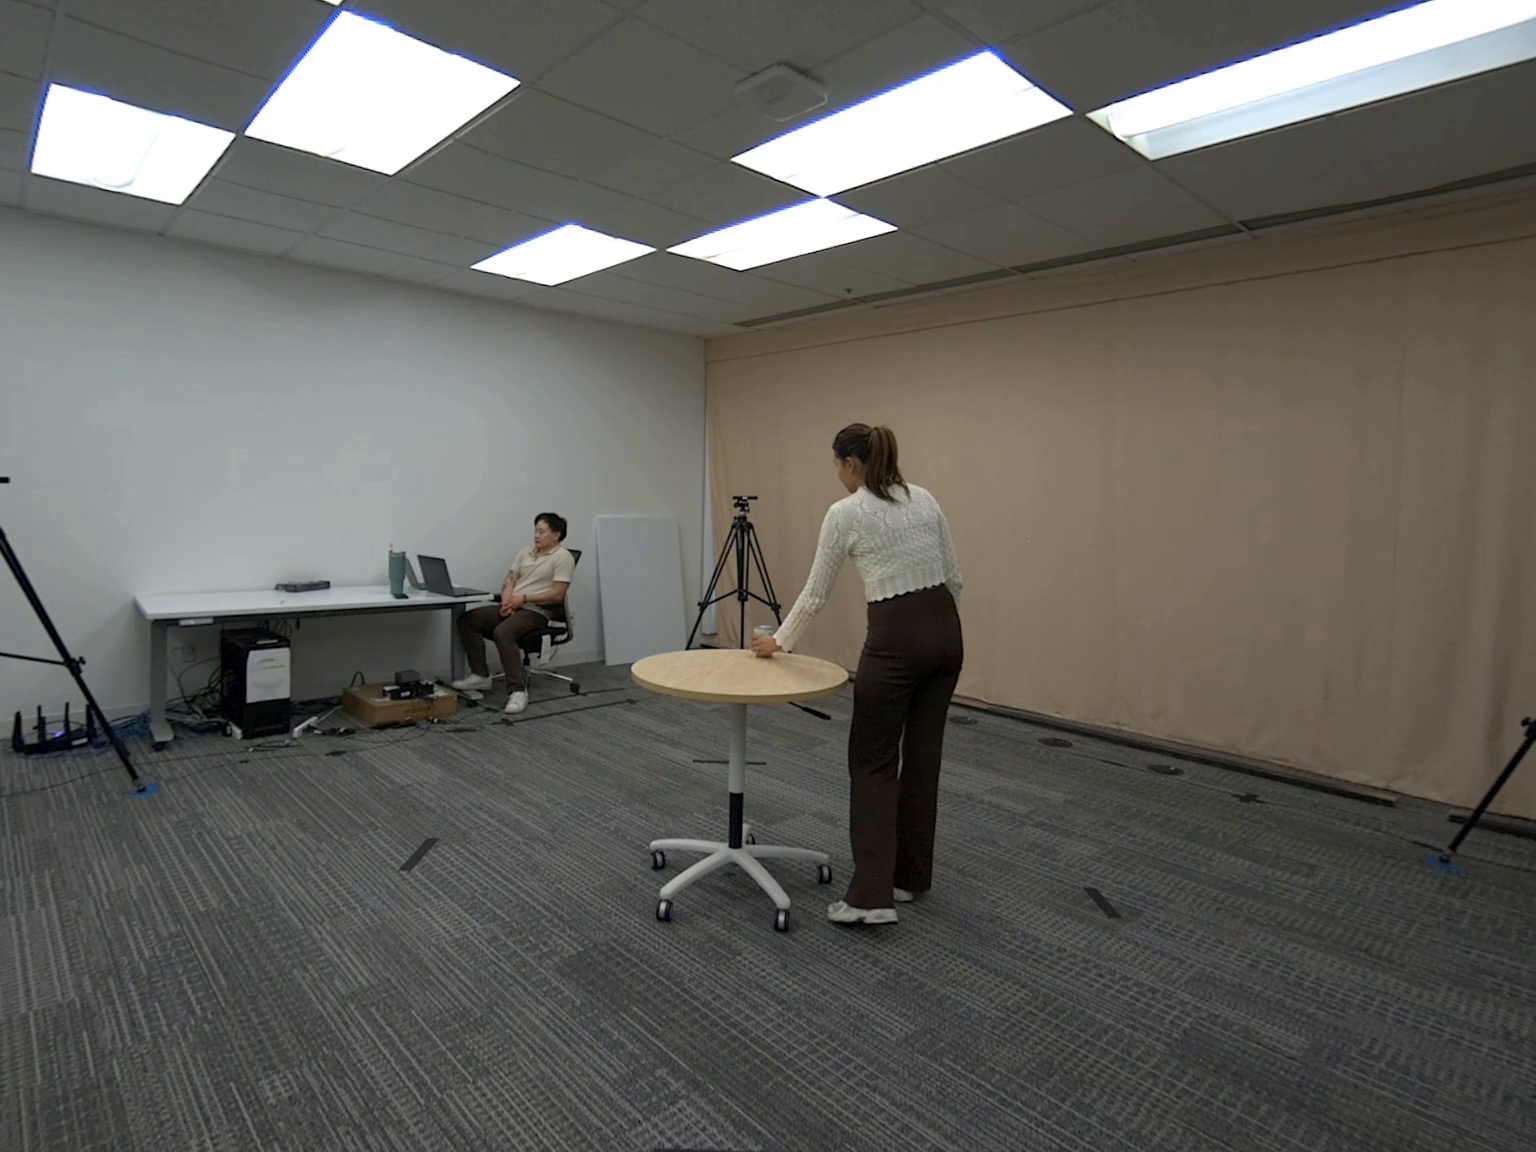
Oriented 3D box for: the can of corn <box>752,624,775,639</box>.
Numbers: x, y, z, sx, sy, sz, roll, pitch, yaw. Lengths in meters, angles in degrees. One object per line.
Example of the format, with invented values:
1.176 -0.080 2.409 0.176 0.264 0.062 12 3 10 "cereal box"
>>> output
-0.027 0.250 3.243 0.074 0.111 0.074 0 4 -1 "can of corn"
